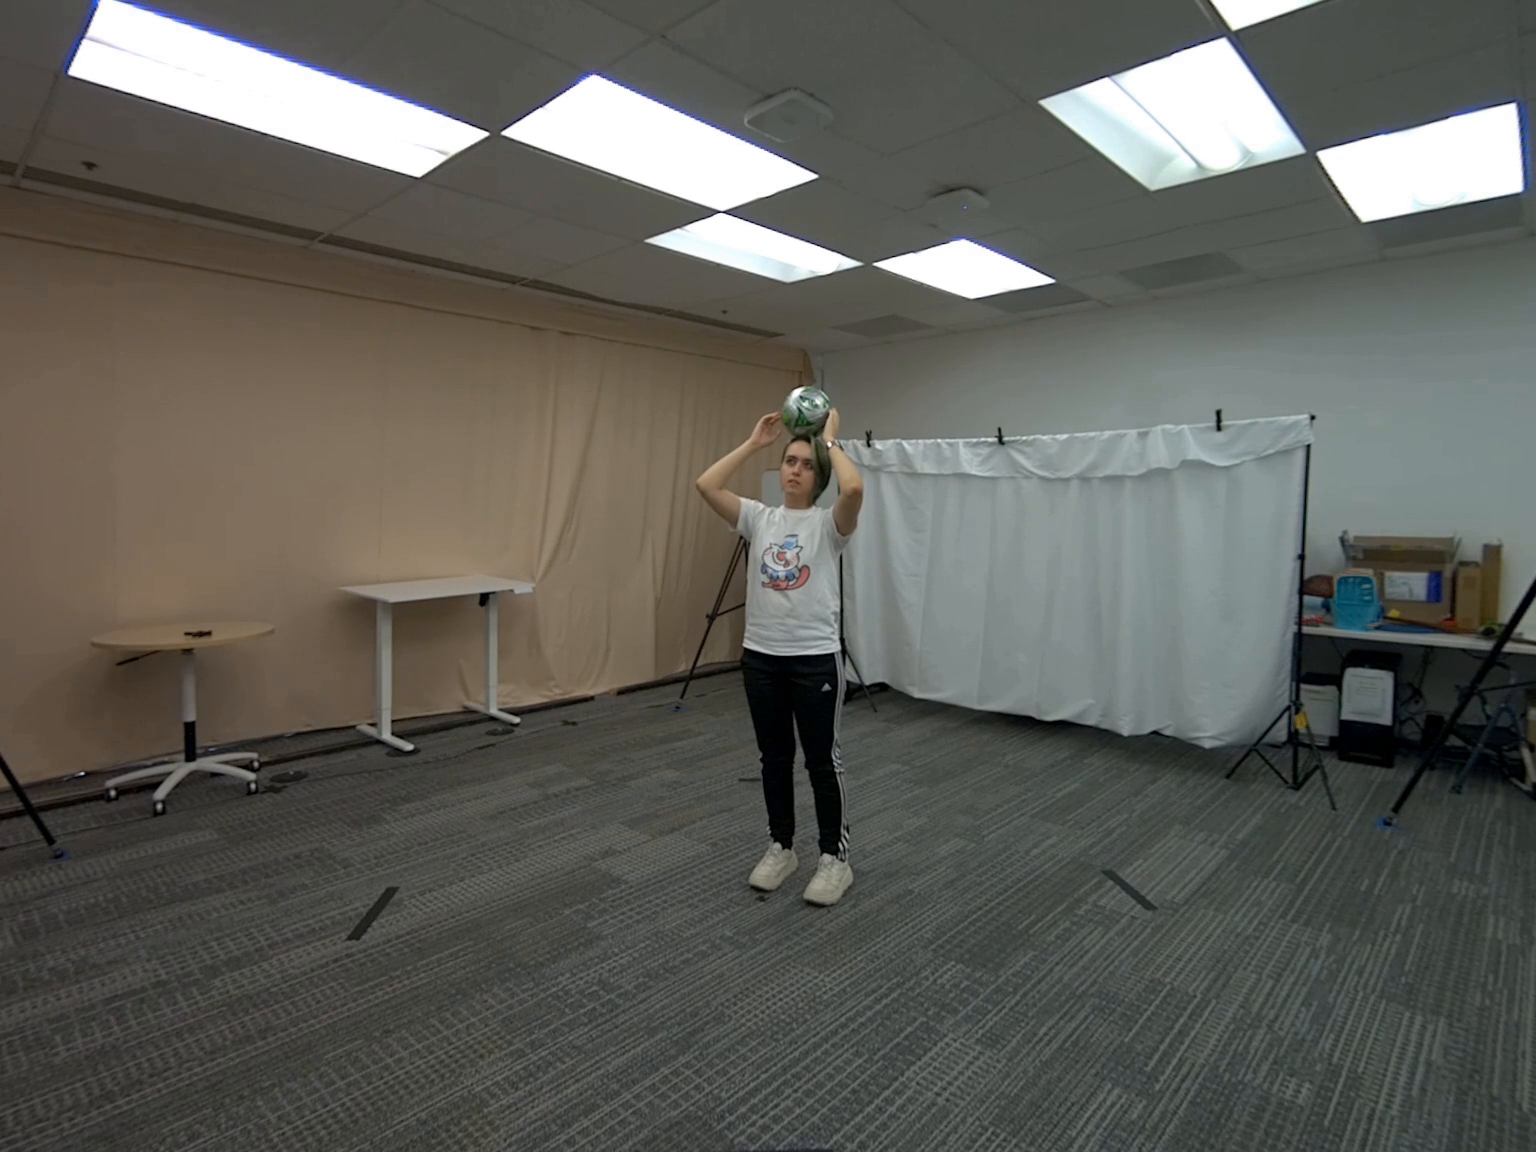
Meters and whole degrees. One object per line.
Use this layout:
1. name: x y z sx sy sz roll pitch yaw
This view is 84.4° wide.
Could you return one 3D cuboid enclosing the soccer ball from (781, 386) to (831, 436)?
1. soccer ball: 0.146 -0.588 3.030 0.187 0.187 0.188 0 4 -2
